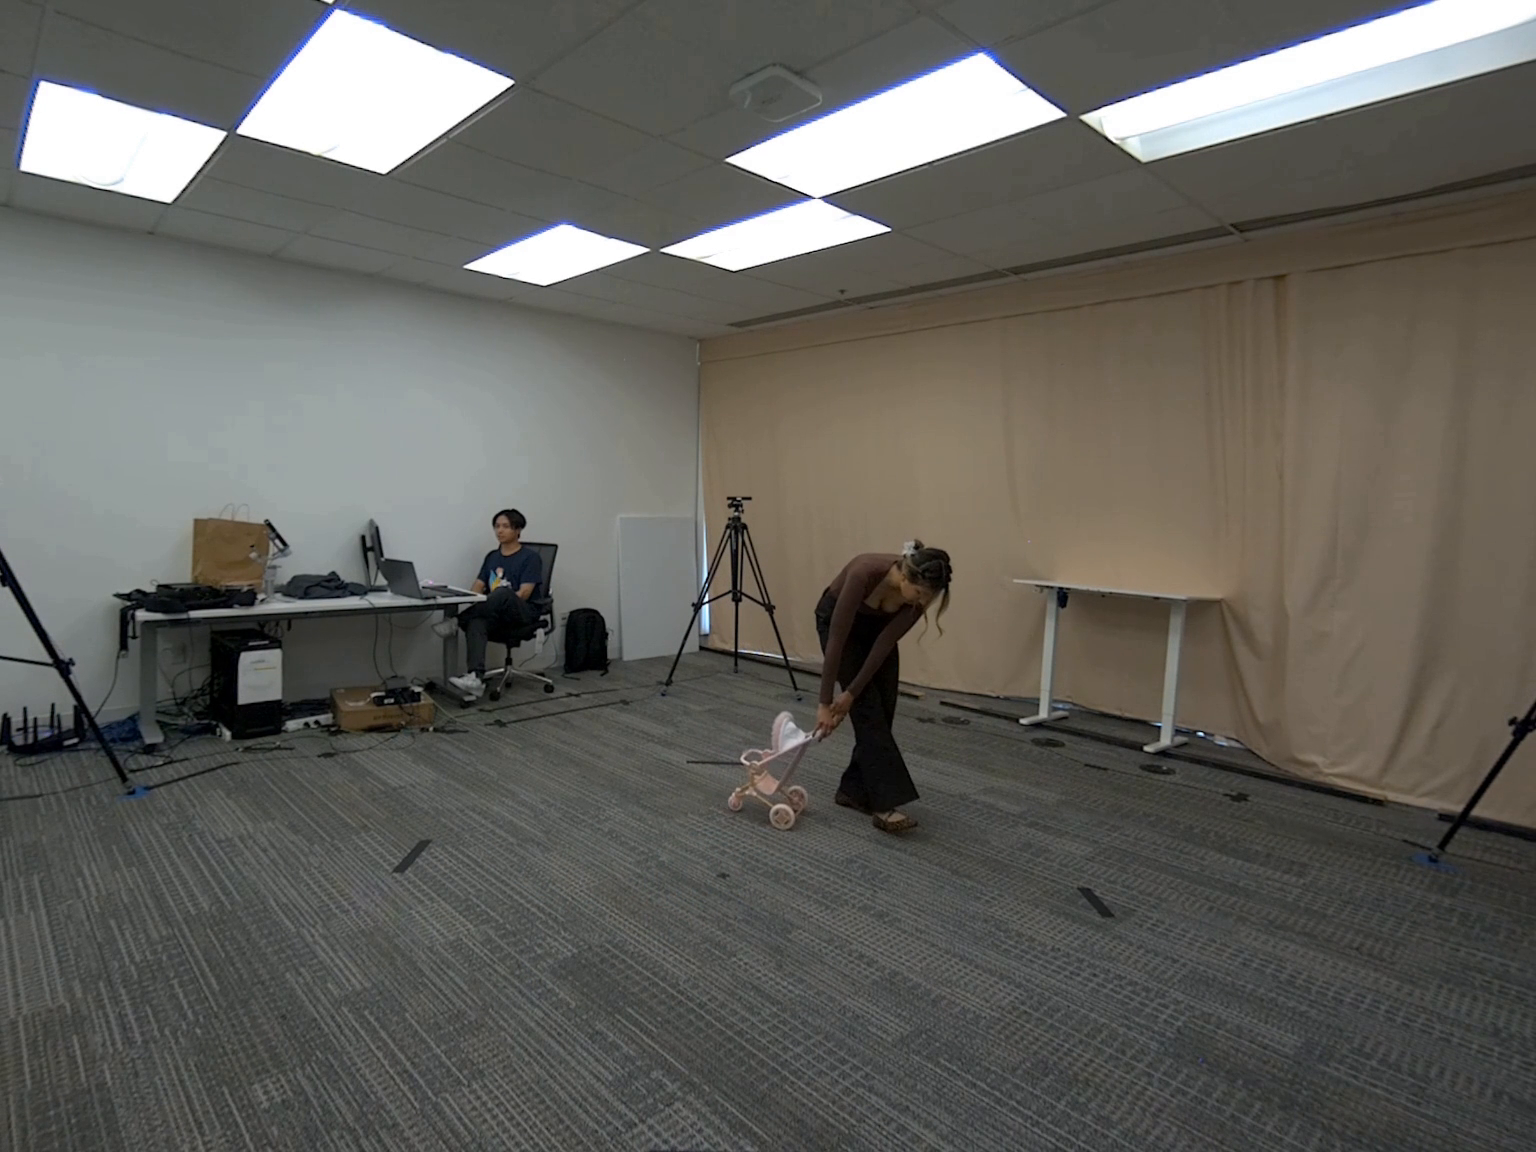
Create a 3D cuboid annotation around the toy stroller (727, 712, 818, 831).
[{"bbox_3d":[0.040,0.835,3.689,0.348,0.532,0.277,21,10,21],"label":"toy stroller"}]
